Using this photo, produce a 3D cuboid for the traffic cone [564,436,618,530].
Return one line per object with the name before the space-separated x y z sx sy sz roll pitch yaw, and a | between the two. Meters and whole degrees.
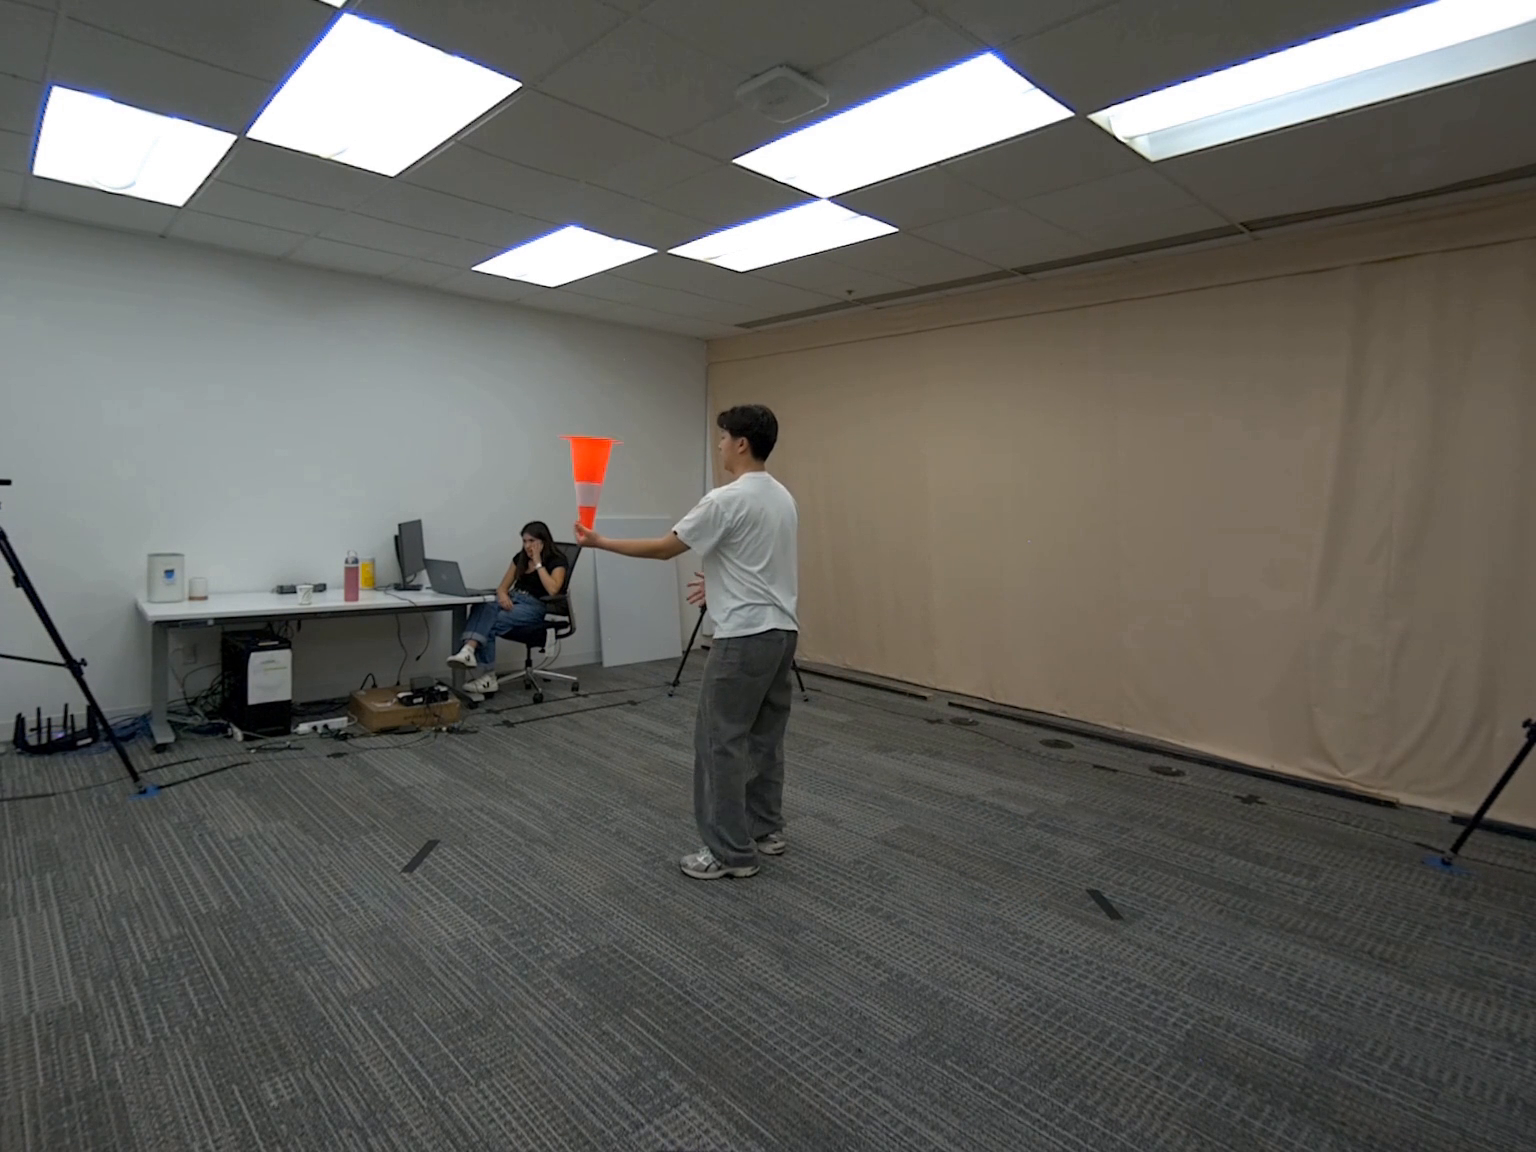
traffic cone | -0.679 -0.332 3.204 0.209 0.383 0.200 2 3 23
